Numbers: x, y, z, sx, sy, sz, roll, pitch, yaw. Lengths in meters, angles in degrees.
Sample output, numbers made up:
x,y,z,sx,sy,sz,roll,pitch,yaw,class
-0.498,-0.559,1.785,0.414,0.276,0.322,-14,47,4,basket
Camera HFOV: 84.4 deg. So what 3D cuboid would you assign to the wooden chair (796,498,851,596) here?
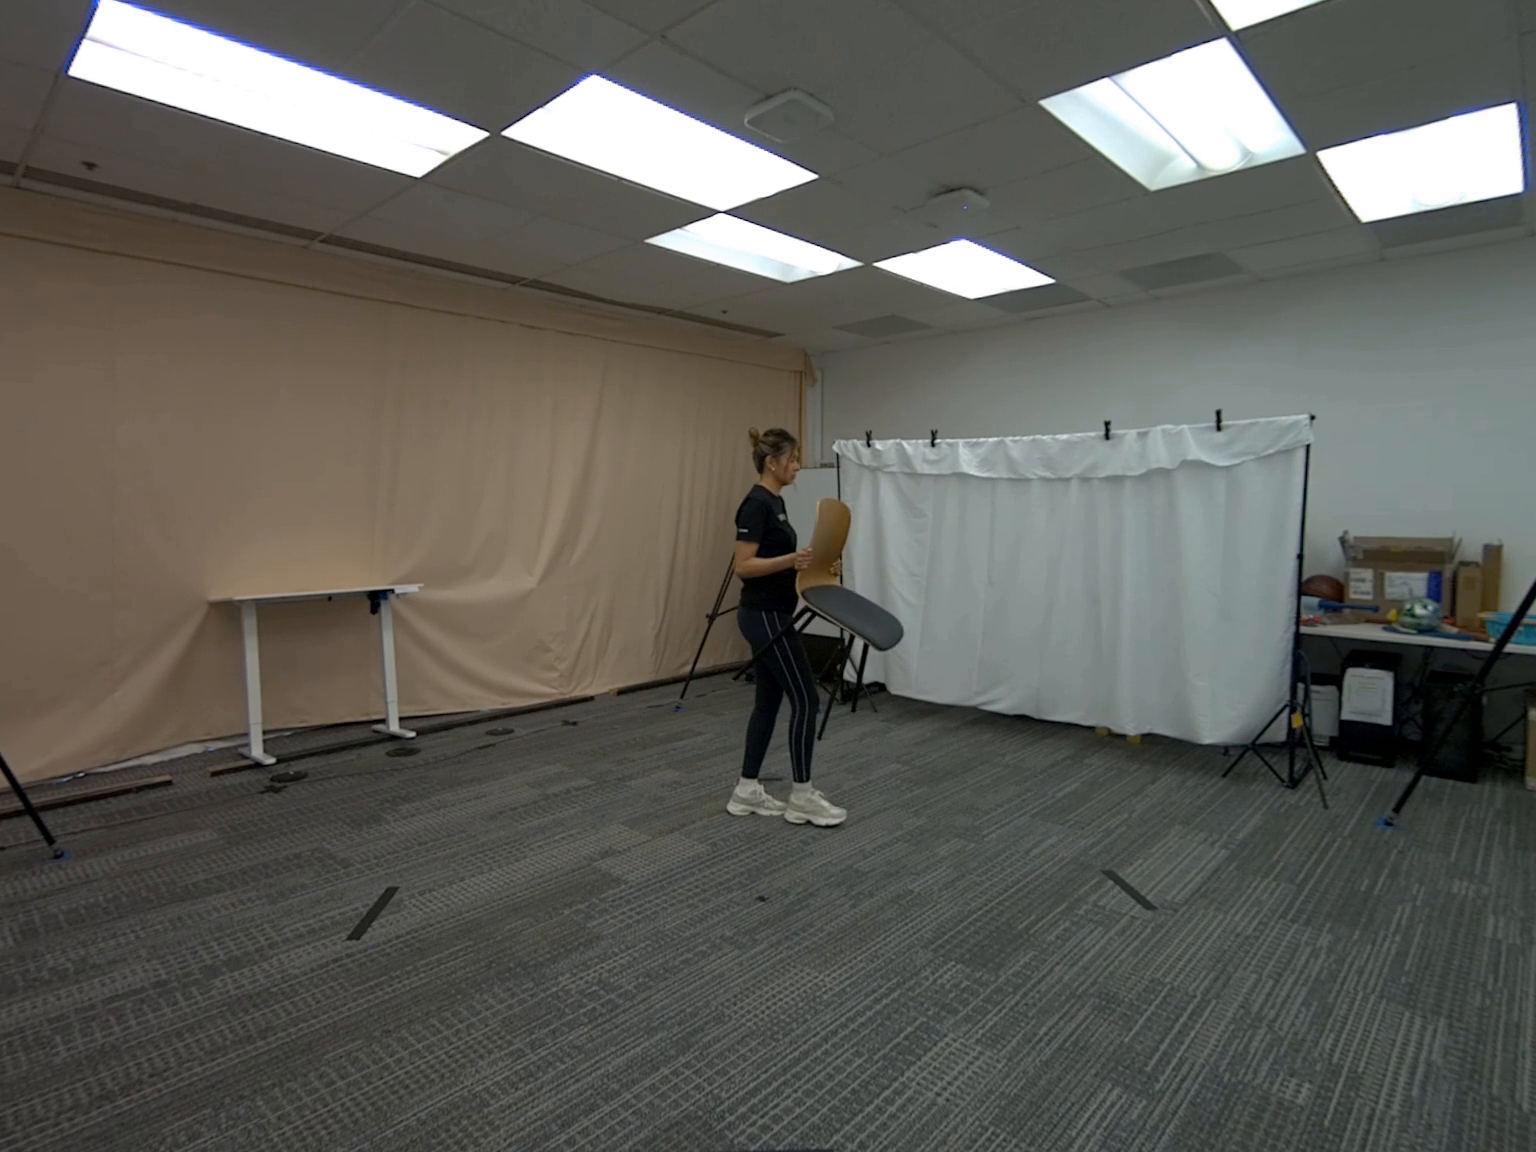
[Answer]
x,y,z,sx,sy,sz,roll,pitch,yaw,class
0.305,0.176,3.575,0.537,0.875,0.467,28,15,21,wooden chair
